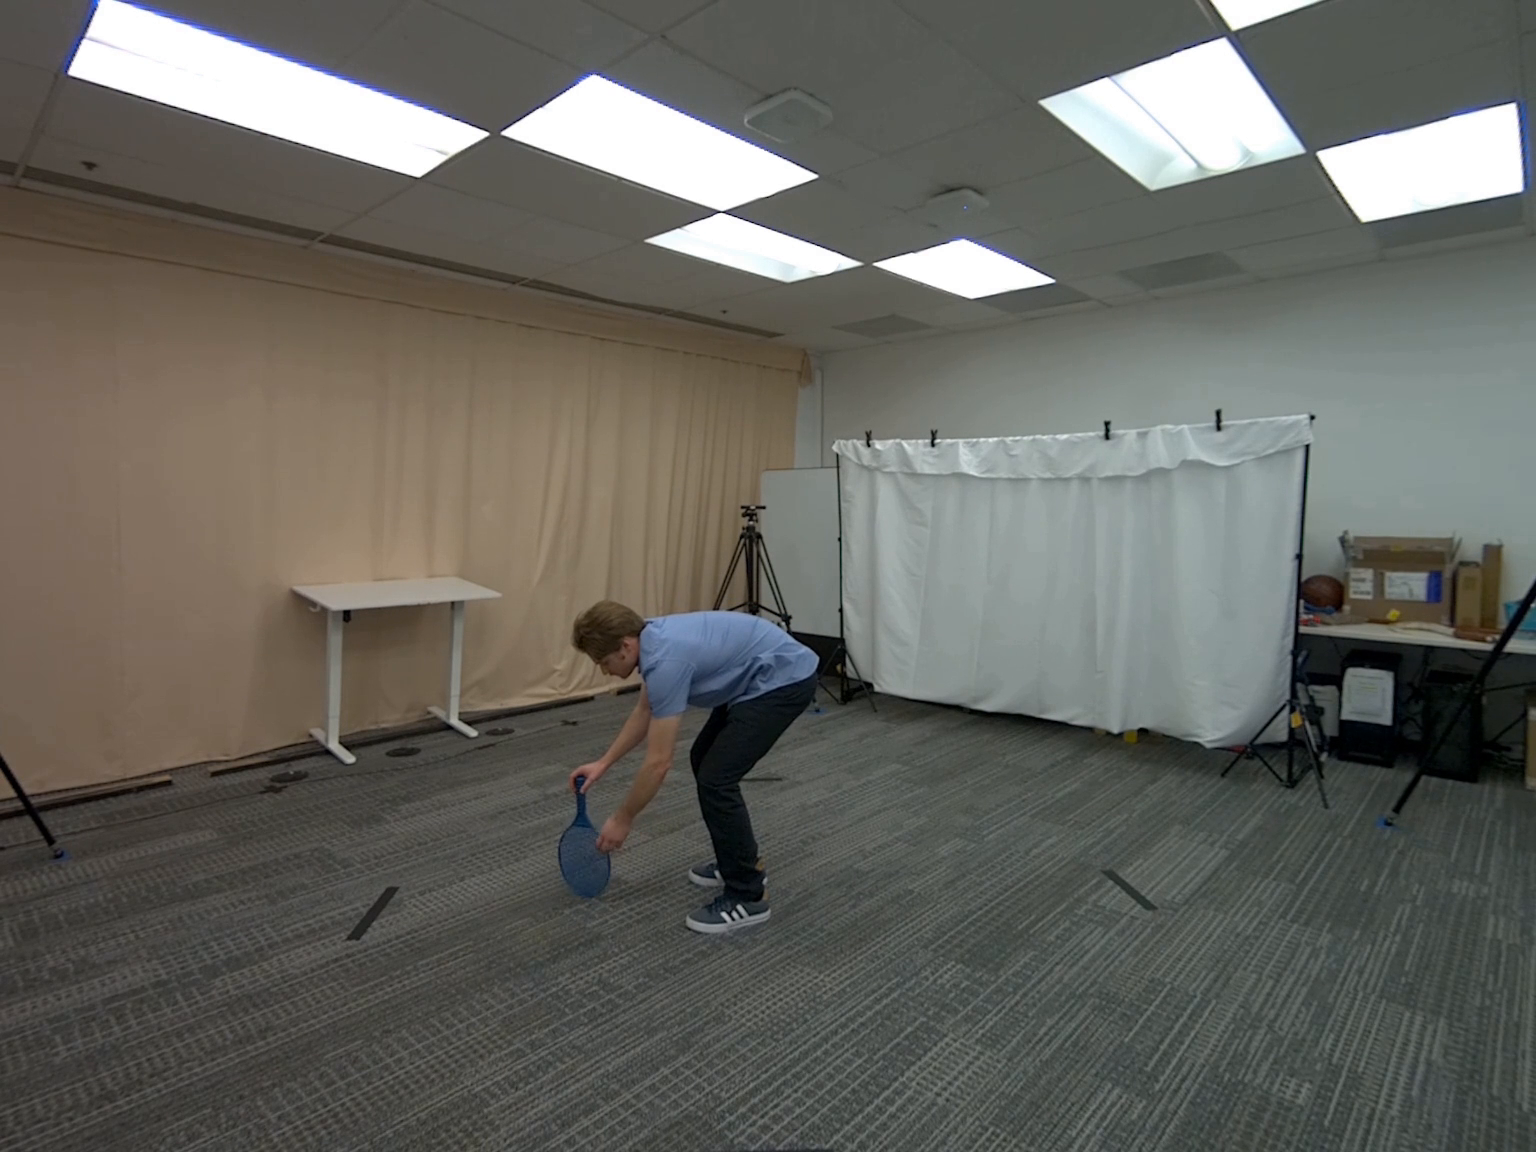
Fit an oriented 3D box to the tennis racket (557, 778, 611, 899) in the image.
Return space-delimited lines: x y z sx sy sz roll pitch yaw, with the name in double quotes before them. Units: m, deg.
"tennis racket" -0.647 0.929 3.001 0.219 0.432 0.031 1 2 24
